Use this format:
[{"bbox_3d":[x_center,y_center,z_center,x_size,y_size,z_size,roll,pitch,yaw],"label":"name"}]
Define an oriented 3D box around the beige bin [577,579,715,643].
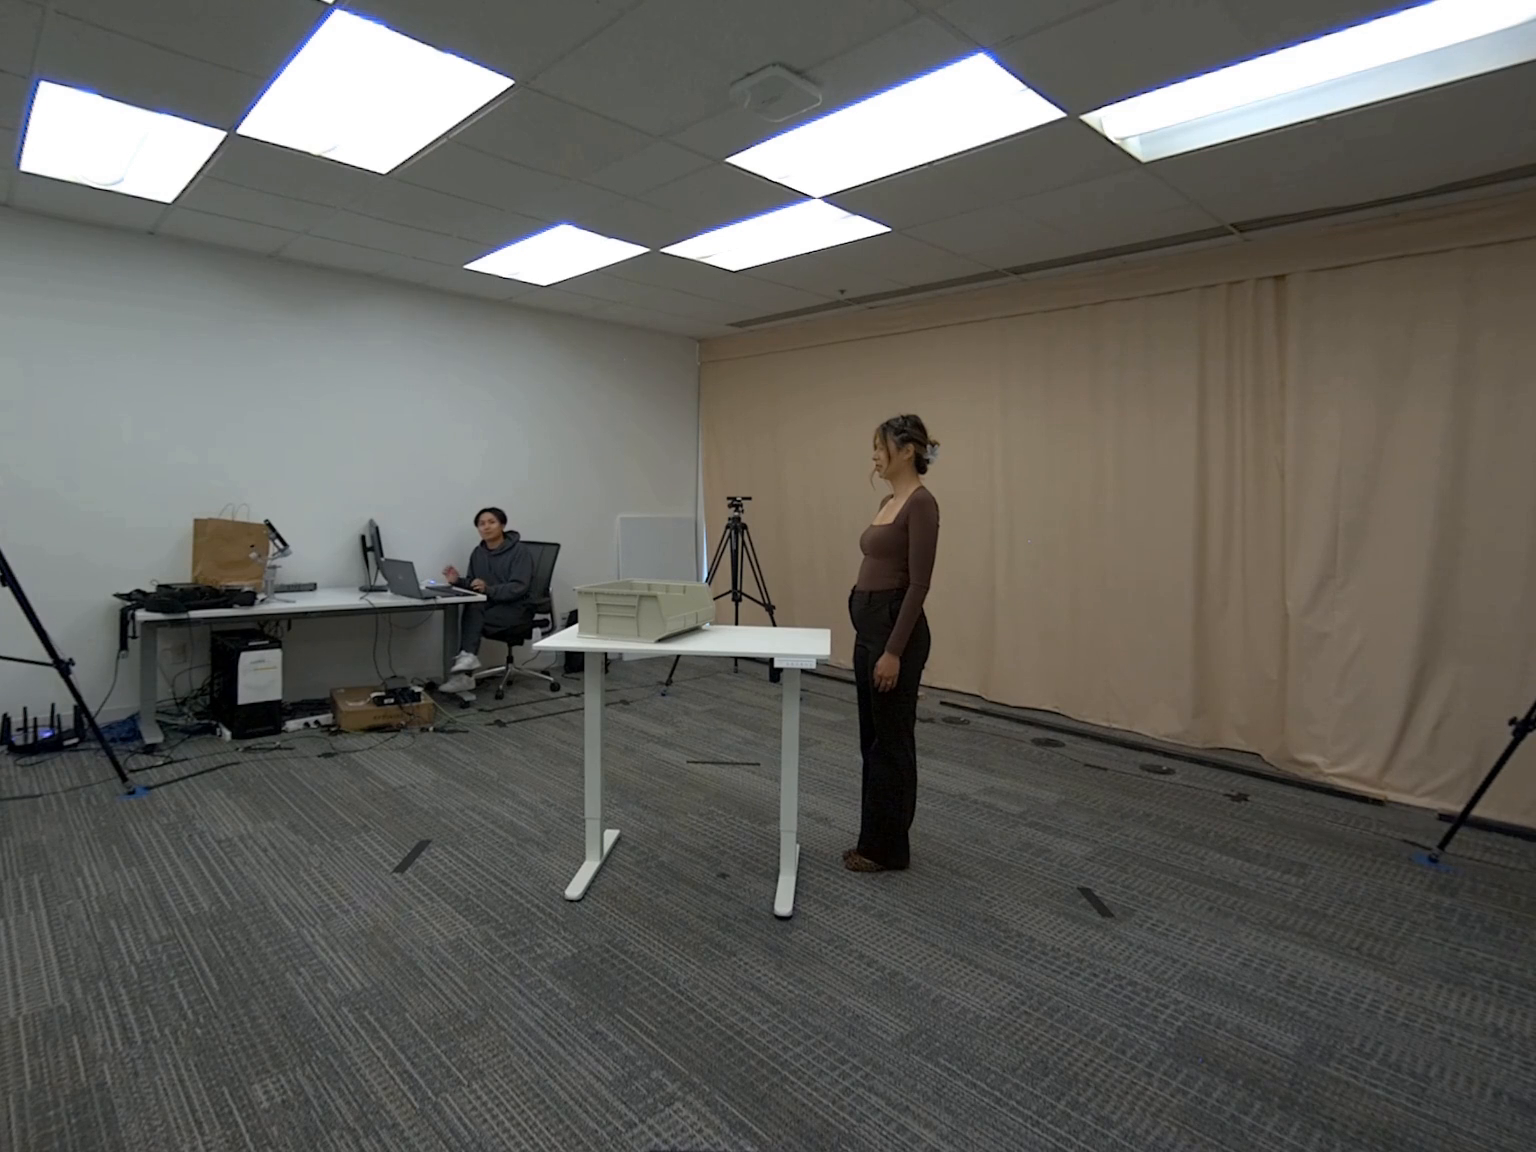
[{"bbox_3d":[-0.458,0.129,3.130,0.383,0.188,0.417,1,4,20],"label":"beige bin"}]
